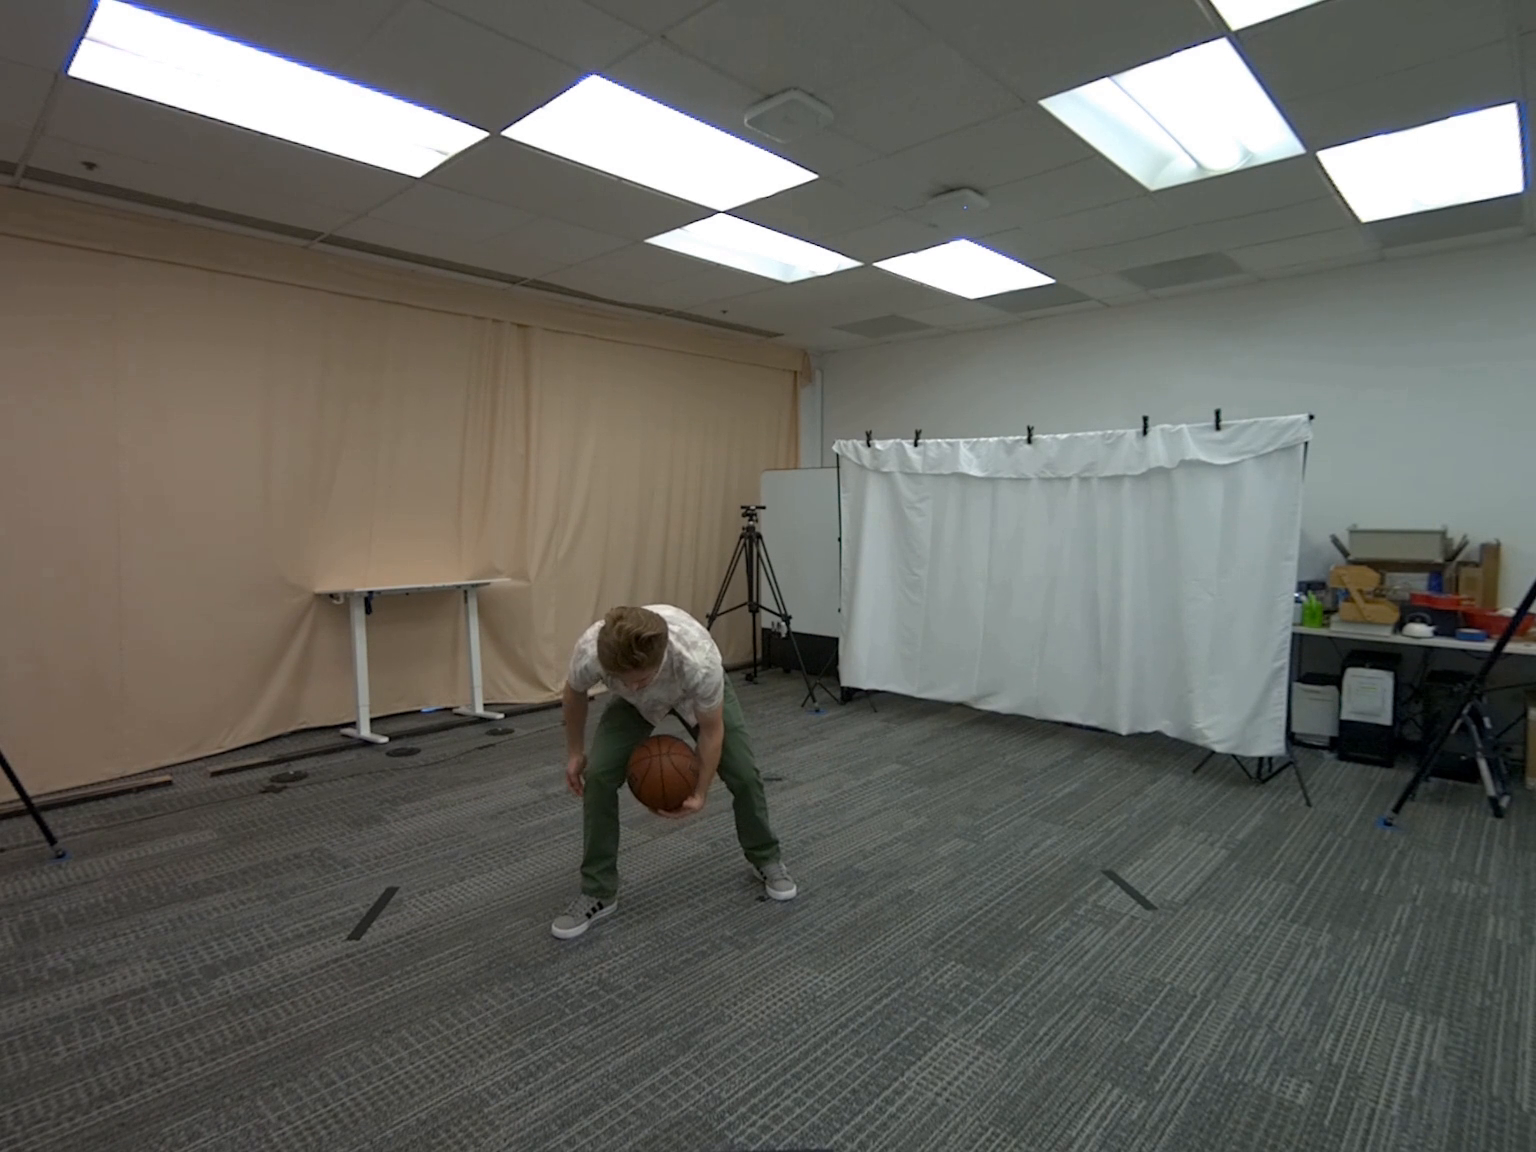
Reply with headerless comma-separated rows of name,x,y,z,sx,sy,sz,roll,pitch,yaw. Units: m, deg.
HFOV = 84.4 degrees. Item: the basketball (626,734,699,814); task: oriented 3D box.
basketball,-0.341,0.638,2.748,0.236,0.235,0.237,0,4,-2
